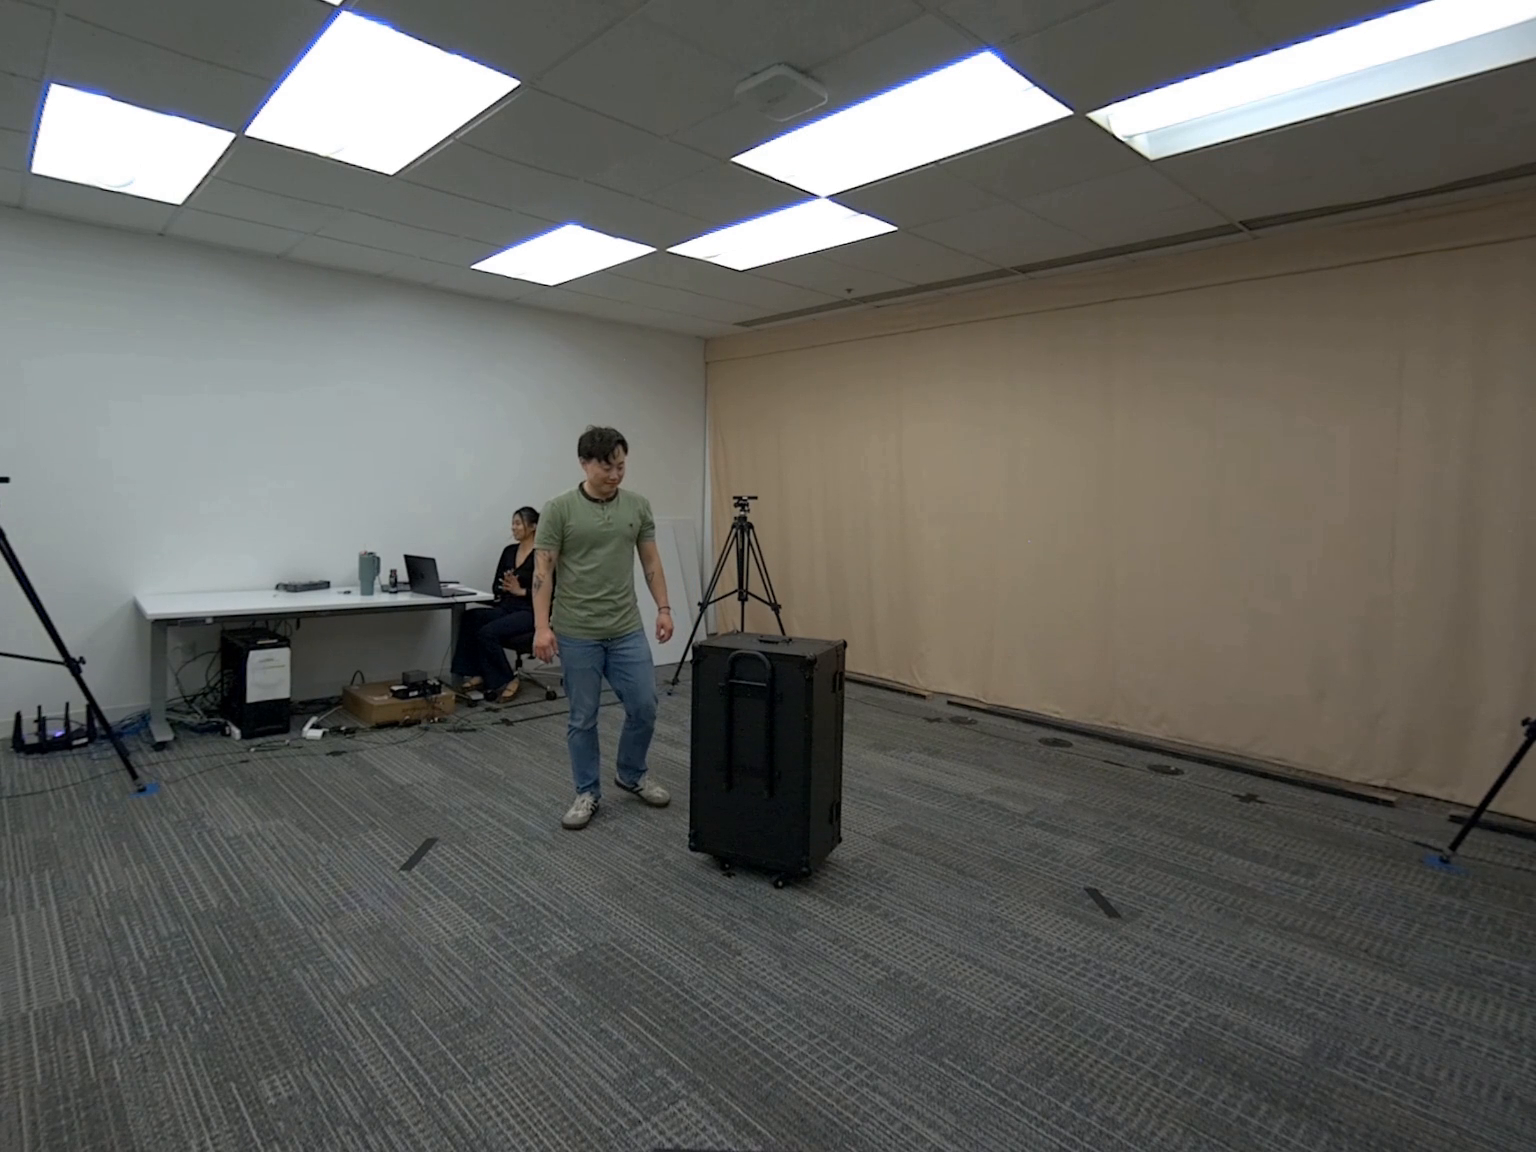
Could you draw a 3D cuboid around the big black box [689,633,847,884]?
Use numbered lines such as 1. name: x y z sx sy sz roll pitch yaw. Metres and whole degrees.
1. big black box: -0.005 0.674 3.164 0.531 0.859 0.390 3 5 25
